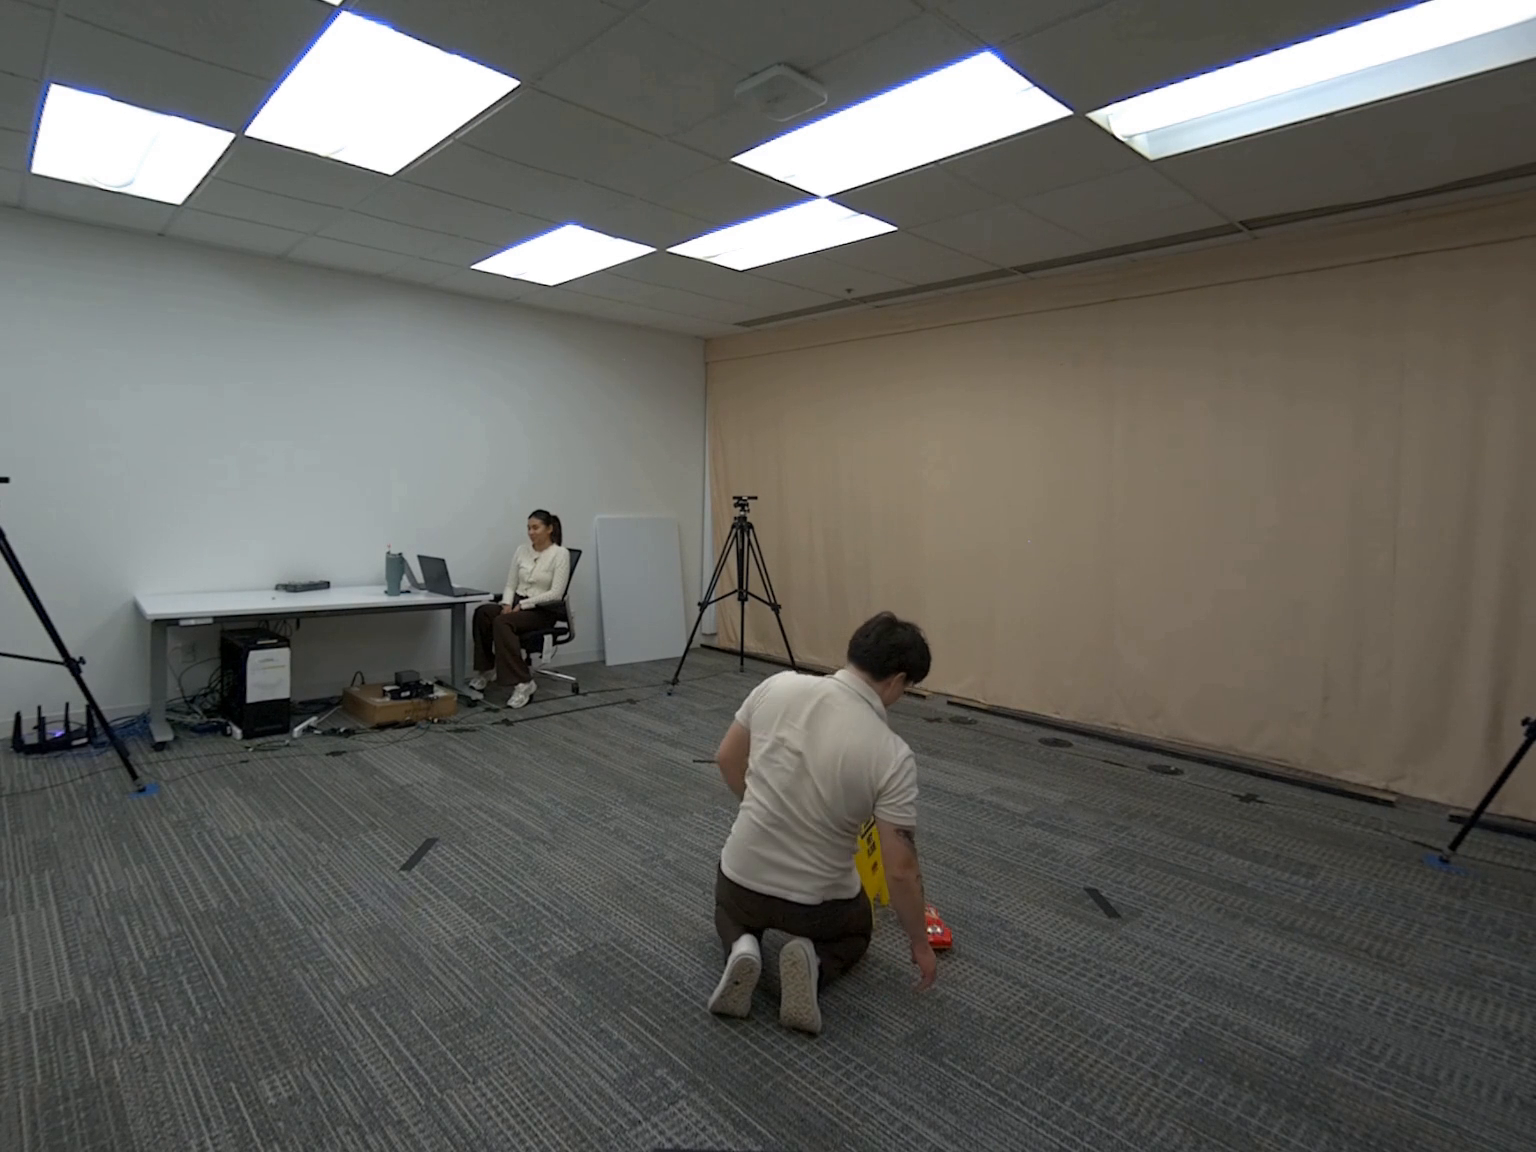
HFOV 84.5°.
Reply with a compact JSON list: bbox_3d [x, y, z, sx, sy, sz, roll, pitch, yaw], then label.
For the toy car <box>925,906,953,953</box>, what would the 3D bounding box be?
[{"bbox_3d":[0.513,1.132,2.684,0.130,0.083,0.254,2,-6,-4],"label":"toy car"}]
